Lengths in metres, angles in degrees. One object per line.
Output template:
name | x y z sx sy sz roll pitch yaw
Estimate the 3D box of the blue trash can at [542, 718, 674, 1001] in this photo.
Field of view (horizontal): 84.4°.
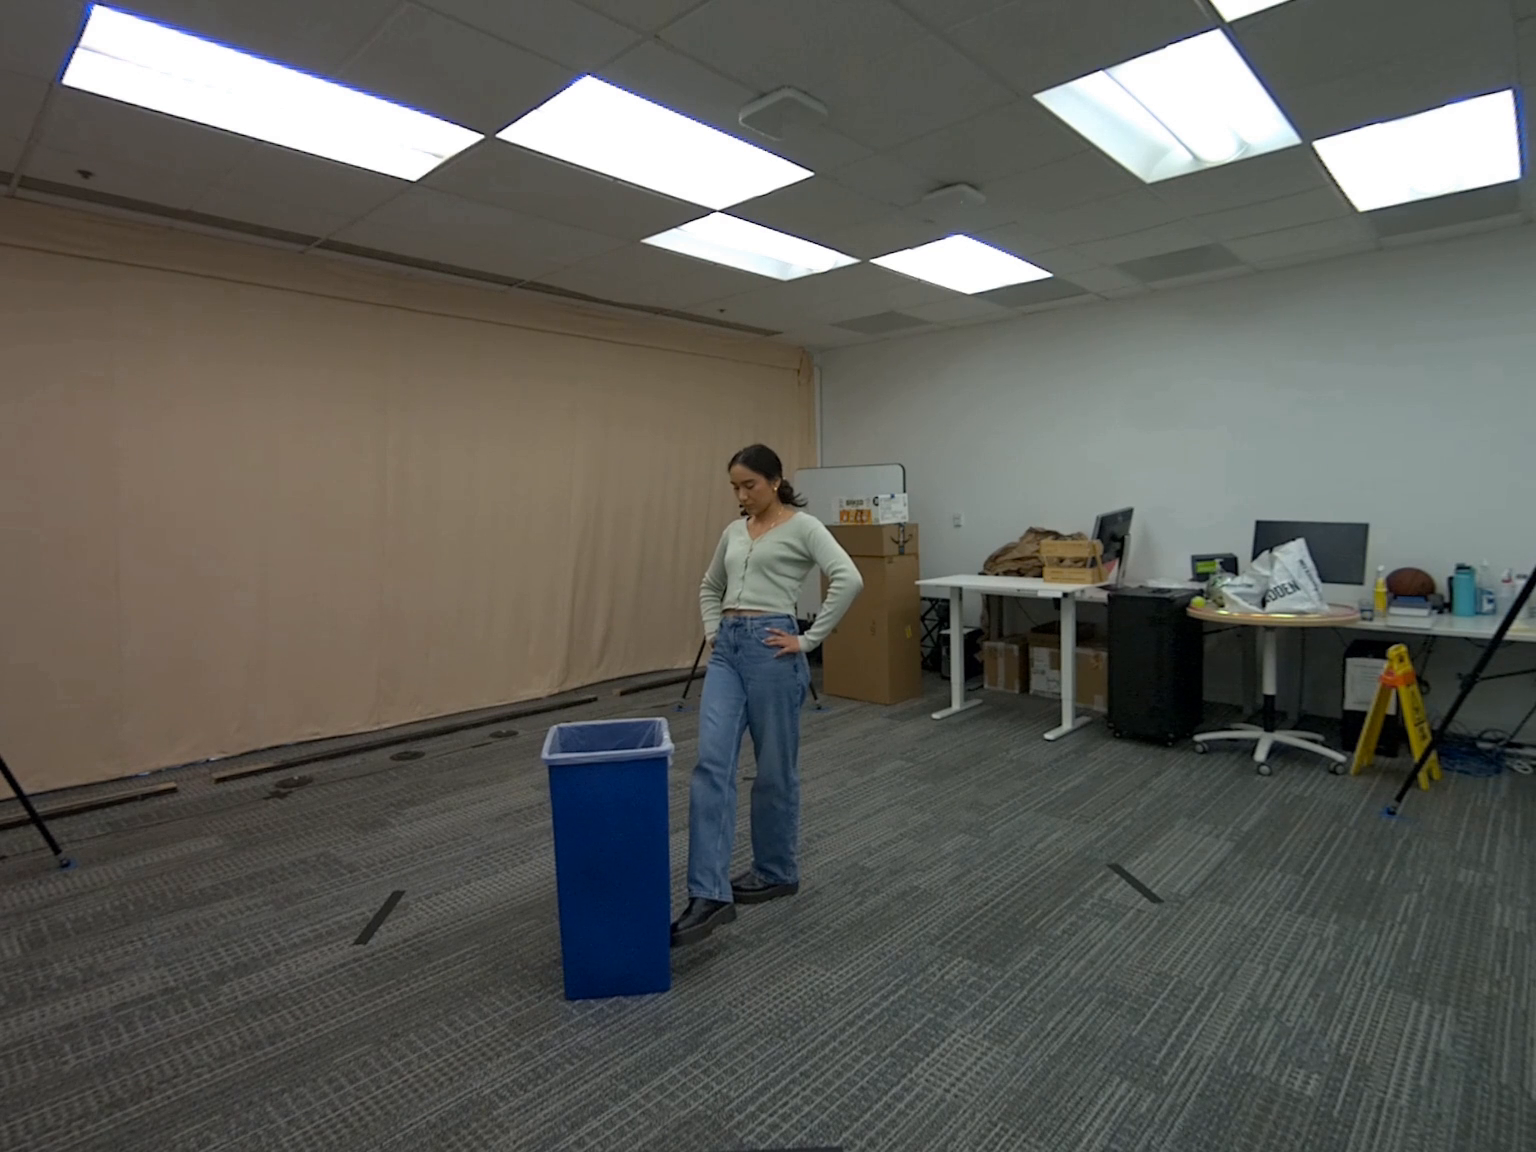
blue trash can | -0.469 0.833 2.528 0.375 0.712 0.378 -3 4 -9
